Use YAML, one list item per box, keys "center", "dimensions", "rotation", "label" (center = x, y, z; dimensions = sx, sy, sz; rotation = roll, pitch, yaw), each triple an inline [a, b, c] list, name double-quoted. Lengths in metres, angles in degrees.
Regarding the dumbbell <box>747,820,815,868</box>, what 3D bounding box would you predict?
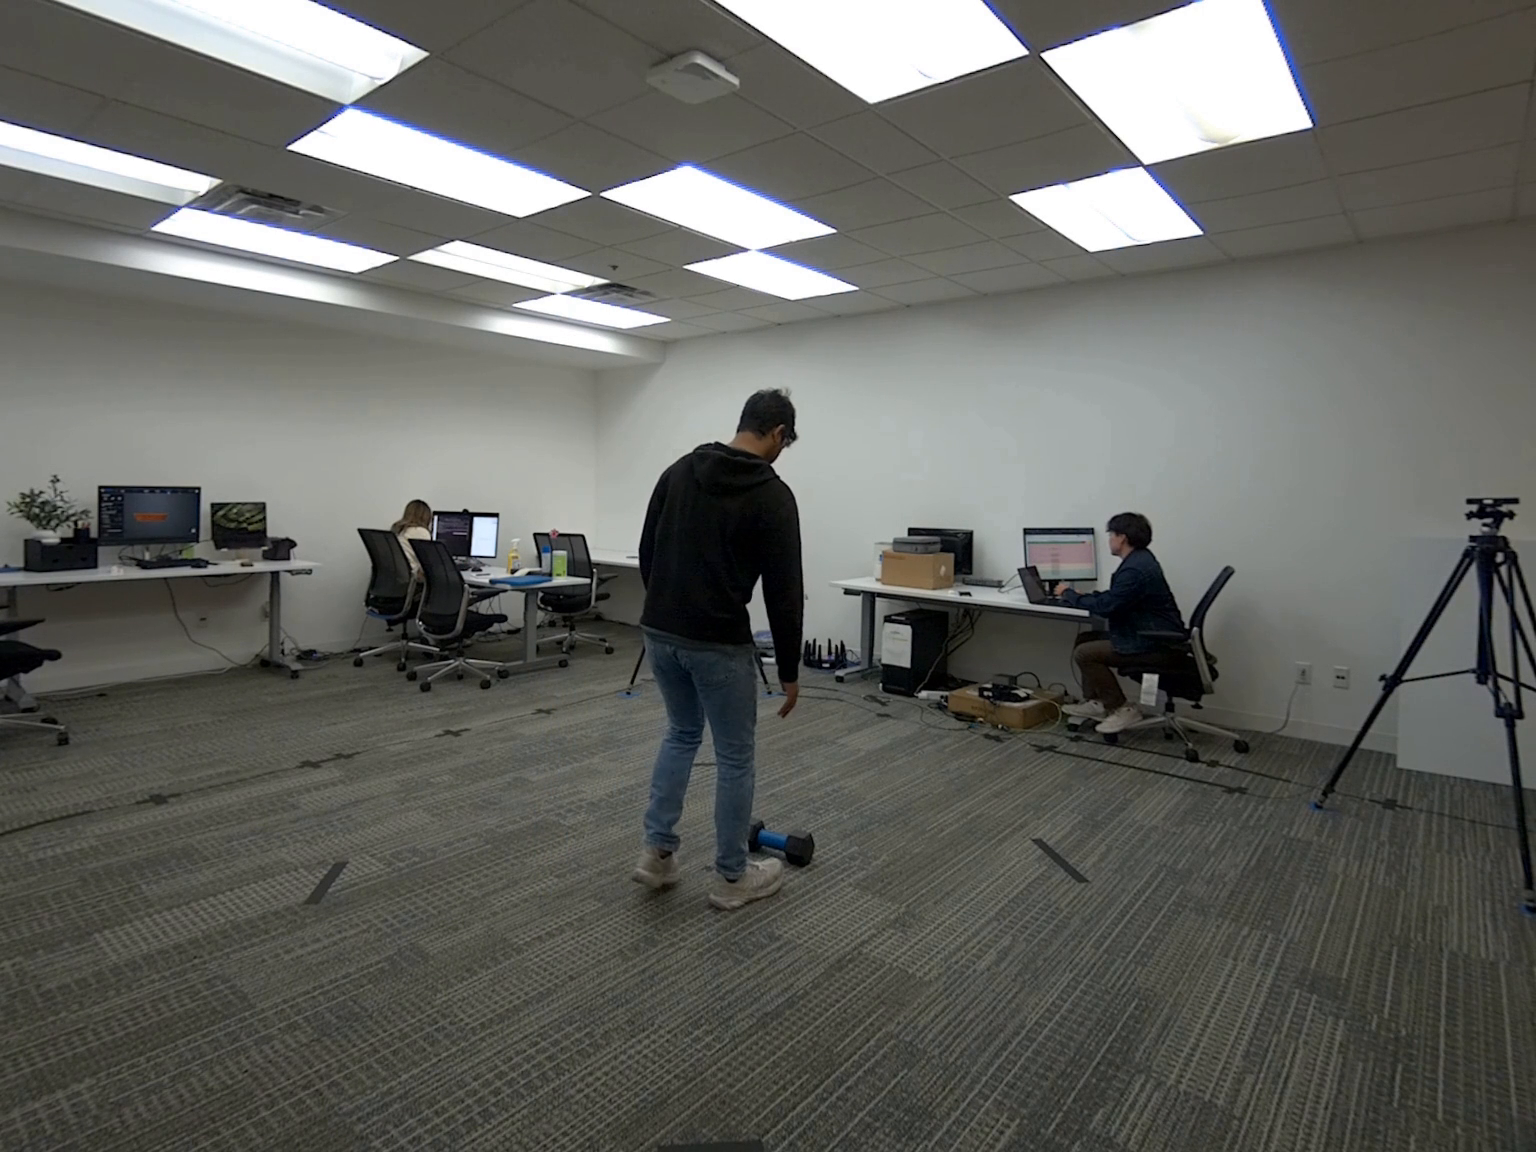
- center: [0.017, 1.003, 3.237]
  dimensions: [0.302, 0.119, 0.109]
  rotation: [4, 35, 32]
  label: "dumbbell"
